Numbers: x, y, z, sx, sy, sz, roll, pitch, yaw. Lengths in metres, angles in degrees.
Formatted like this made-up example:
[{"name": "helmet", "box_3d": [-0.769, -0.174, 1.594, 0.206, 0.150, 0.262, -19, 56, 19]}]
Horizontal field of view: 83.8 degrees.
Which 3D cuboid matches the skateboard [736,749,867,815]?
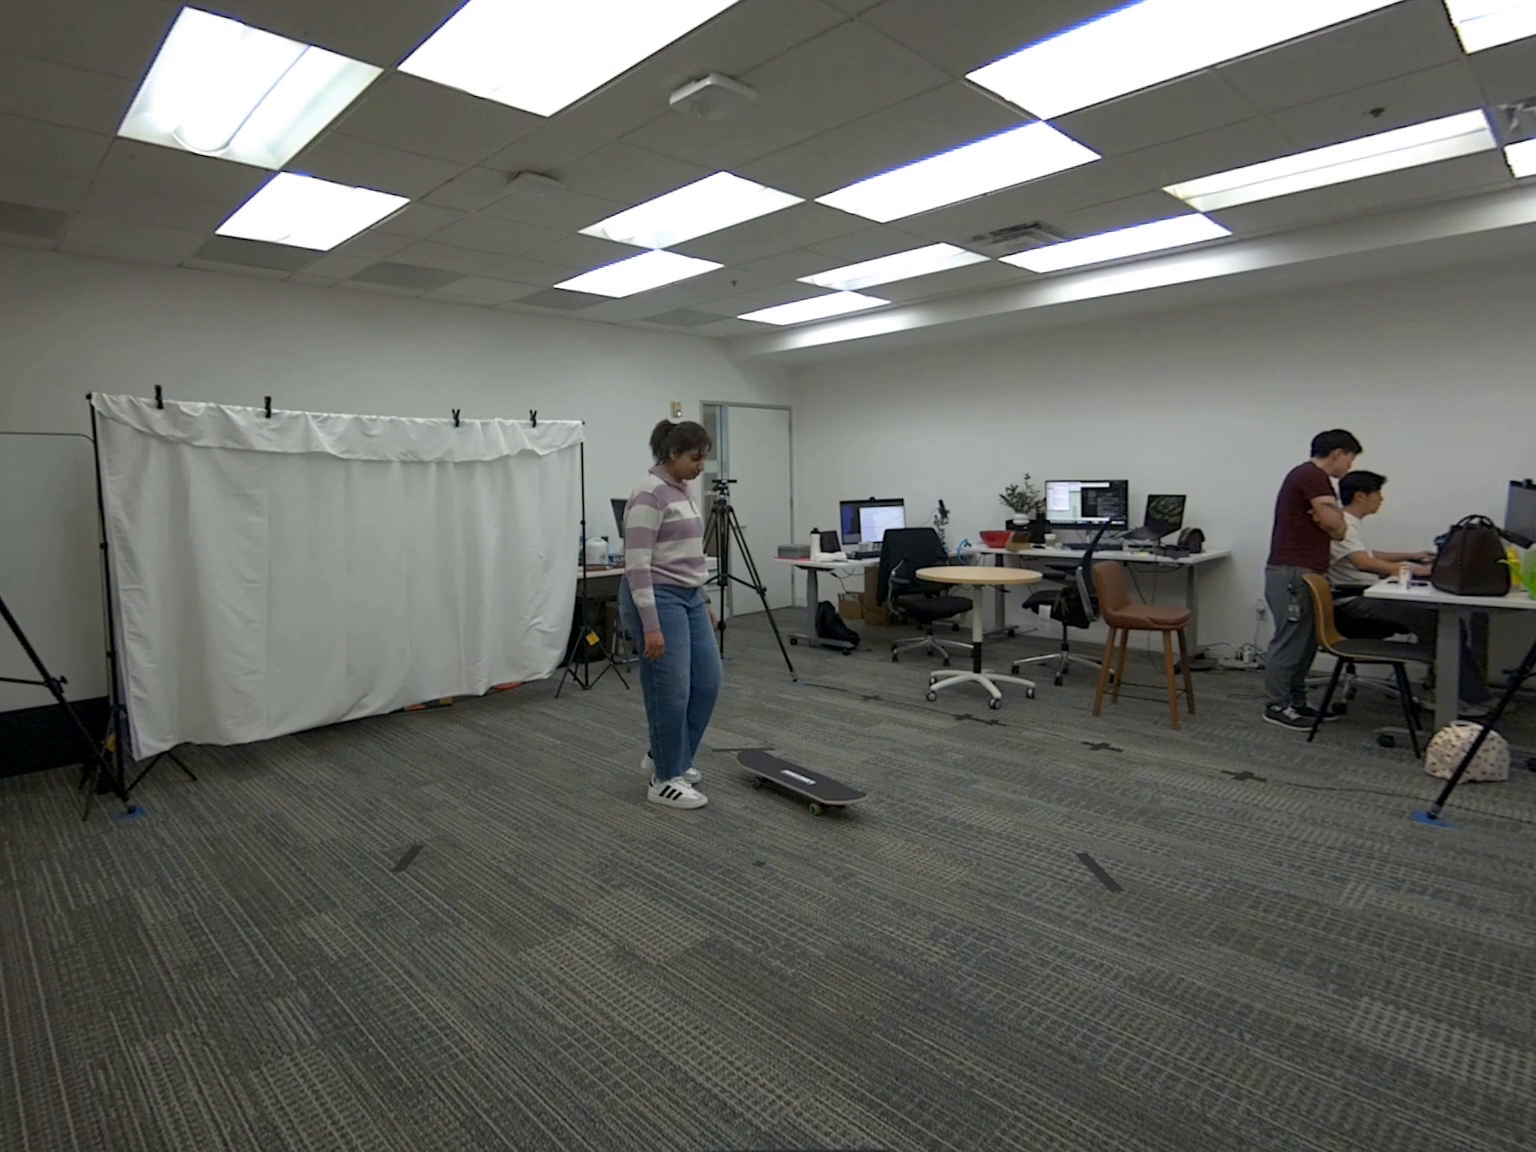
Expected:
[{"name": "skateboard", "box_3d": [0.138, 0.917, 3.751, 0.189, 0.110, 0.809, -6, 8, -37]}]
